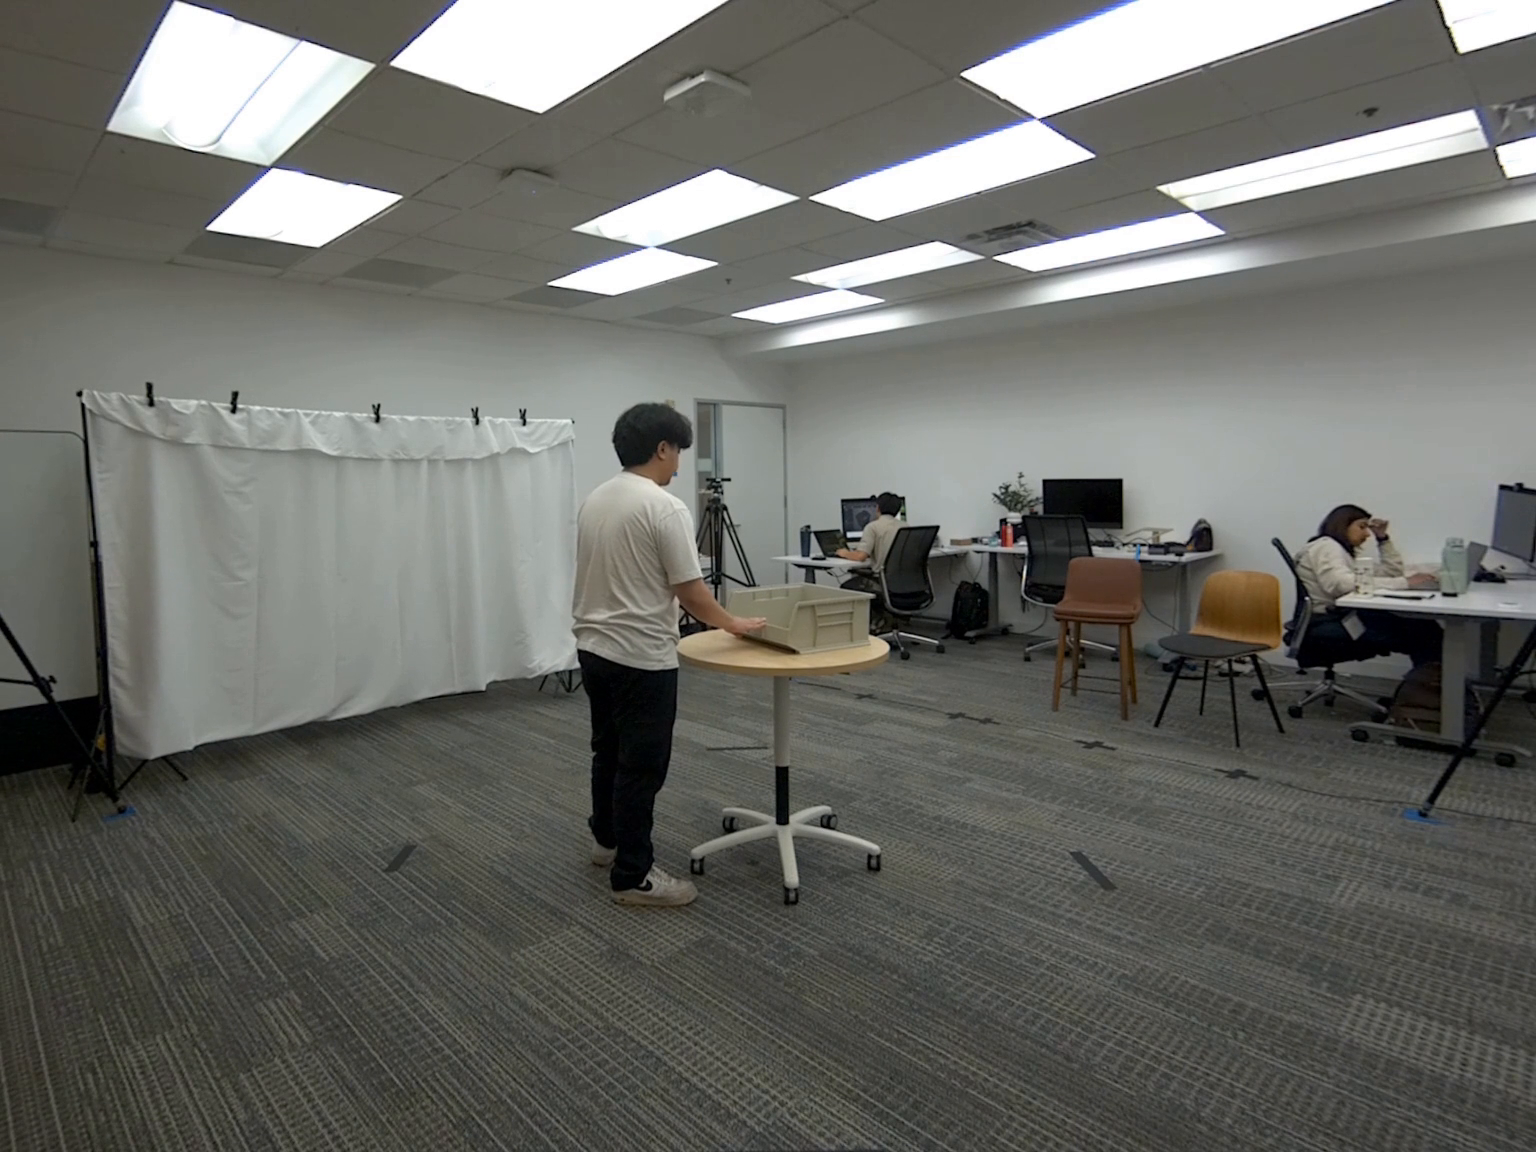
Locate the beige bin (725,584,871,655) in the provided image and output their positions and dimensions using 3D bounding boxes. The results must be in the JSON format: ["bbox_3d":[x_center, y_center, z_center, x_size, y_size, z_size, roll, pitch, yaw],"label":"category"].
[{"bbox_3d":[0.110,0.150,3.126,0.368,0.188,0.434,-3,6,-33],"label":"beige bin"}]
